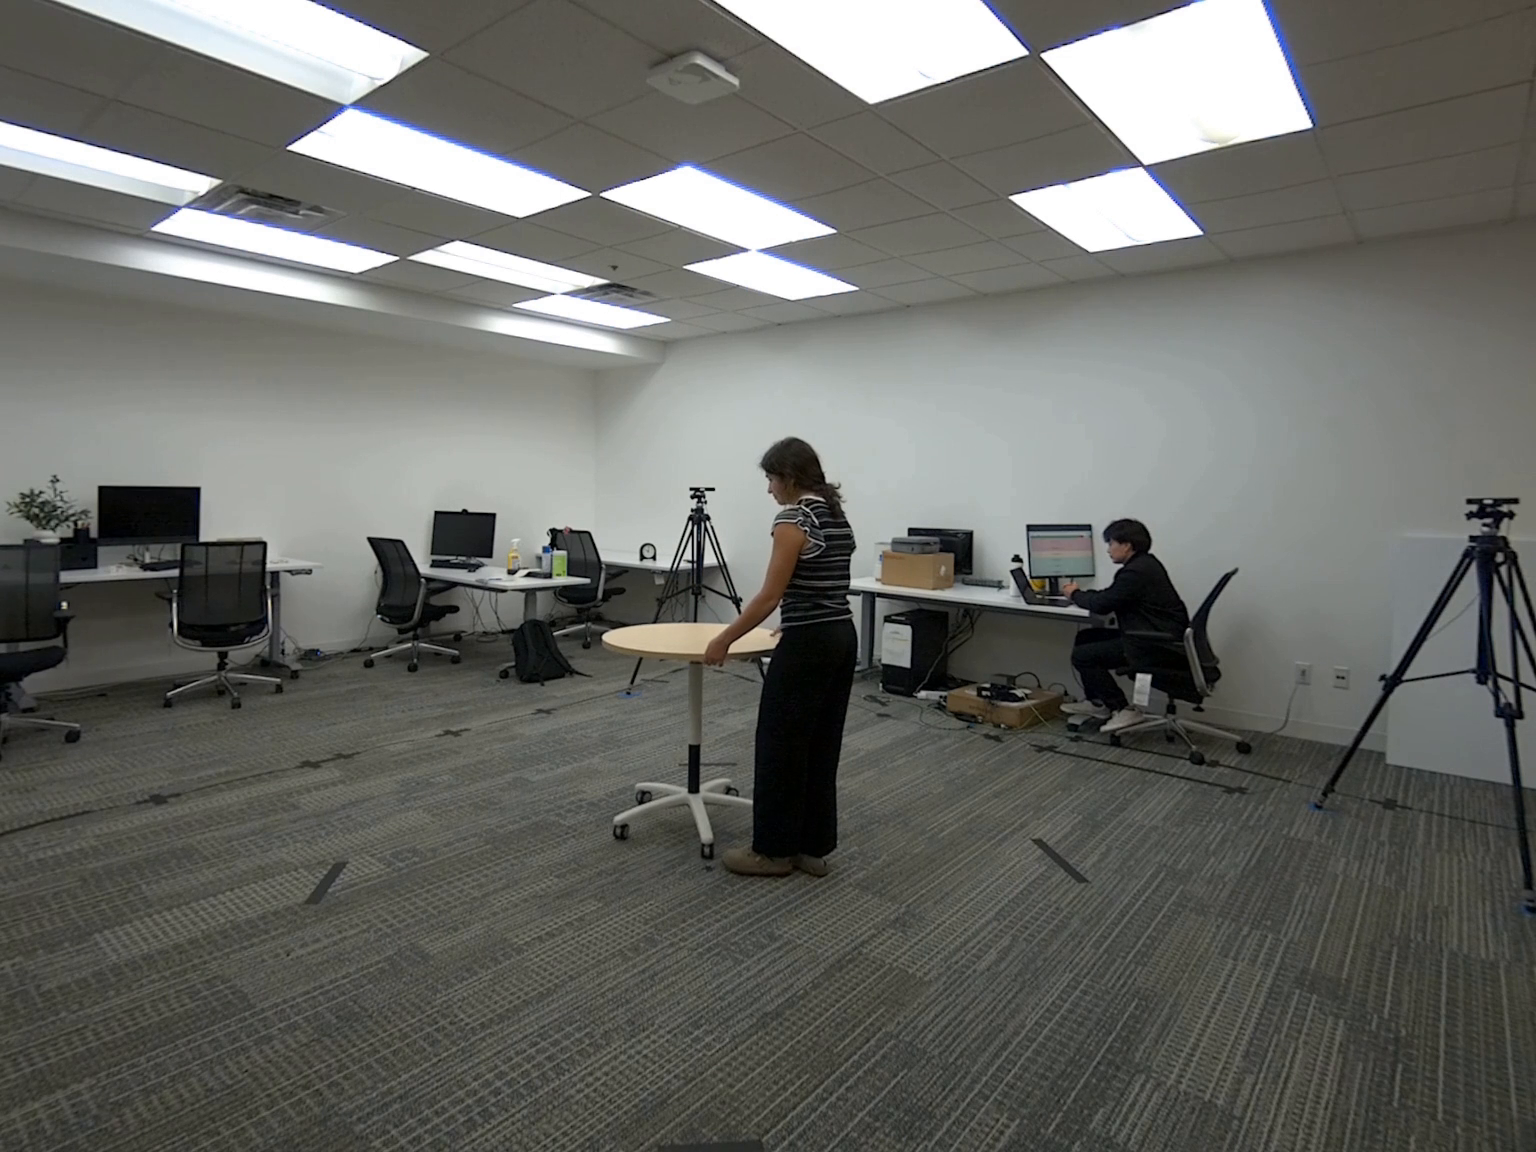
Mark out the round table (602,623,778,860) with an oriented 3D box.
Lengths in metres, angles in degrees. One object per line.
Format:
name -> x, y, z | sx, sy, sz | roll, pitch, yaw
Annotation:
round table -> -0.320, 0.632, 3.505 | 0.784, 0.784, 0.789 | 1, 4, -2
